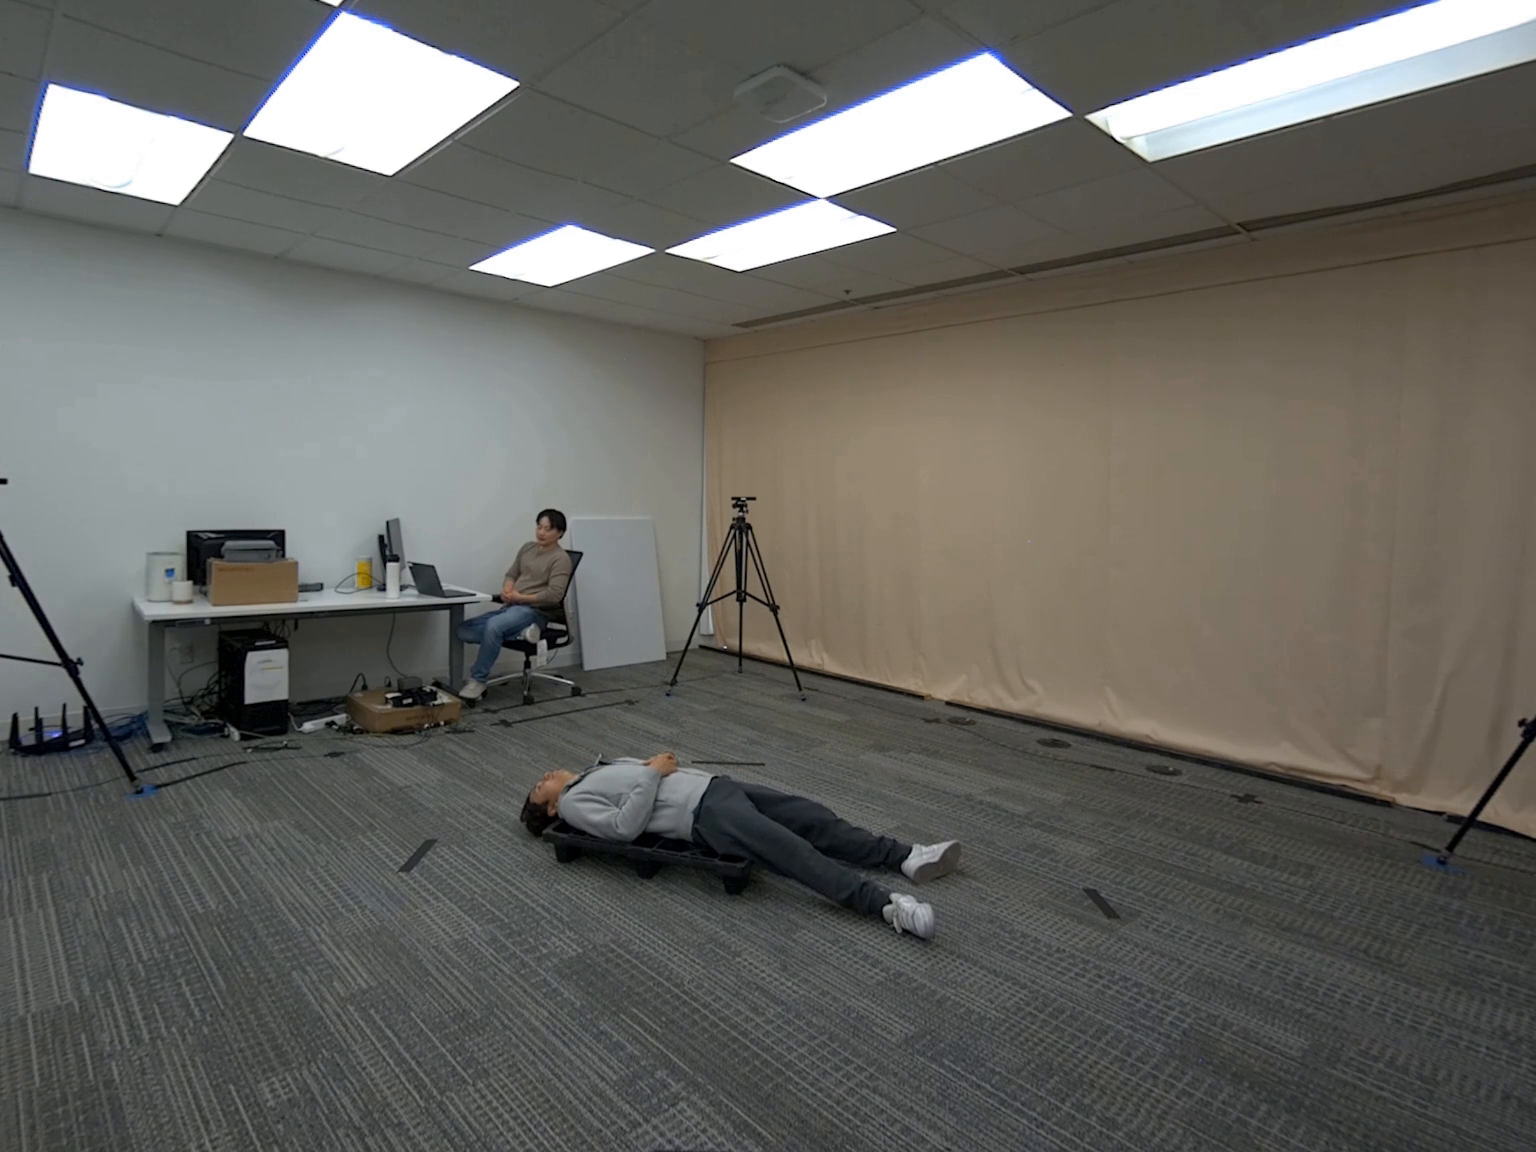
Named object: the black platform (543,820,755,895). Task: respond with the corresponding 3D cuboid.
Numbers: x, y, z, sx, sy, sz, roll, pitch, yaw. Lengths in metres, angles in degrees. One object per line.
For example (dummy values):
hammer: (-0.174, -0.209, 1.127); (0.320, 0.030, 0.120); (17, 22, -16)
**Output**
black platform: (-0.388, 1.013, 3.289); (0.818, 0.143, 0.598); (1, 5, 19)
